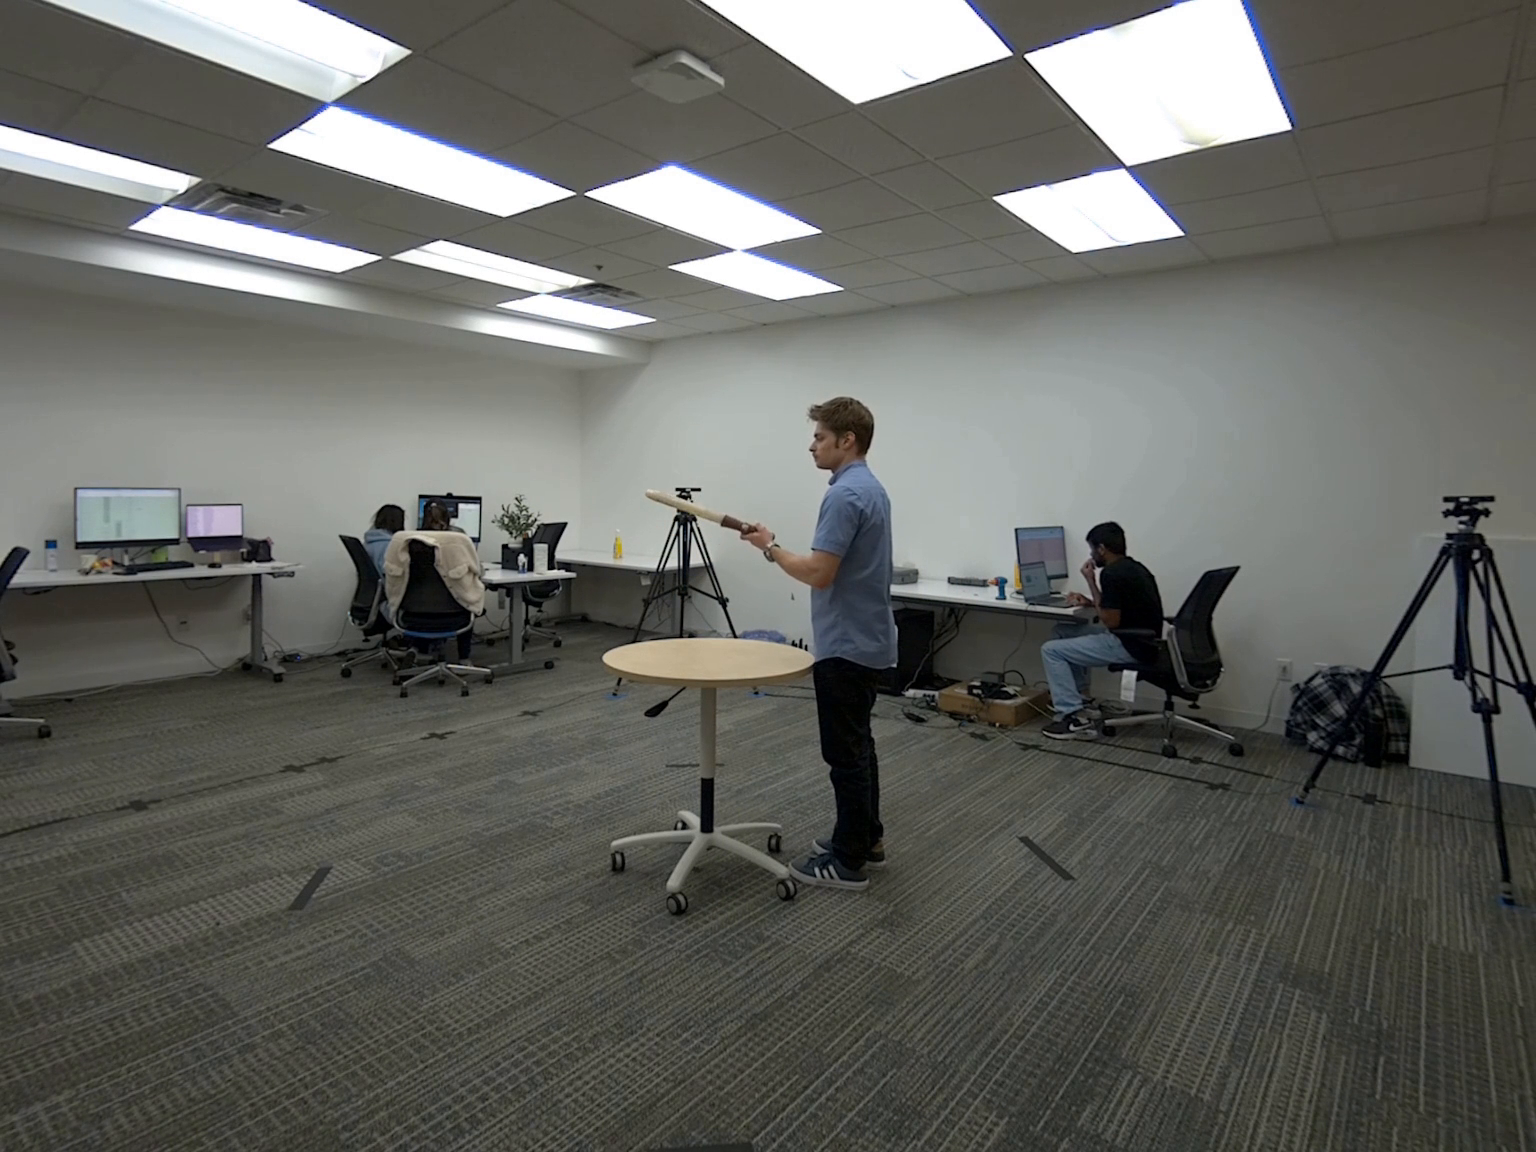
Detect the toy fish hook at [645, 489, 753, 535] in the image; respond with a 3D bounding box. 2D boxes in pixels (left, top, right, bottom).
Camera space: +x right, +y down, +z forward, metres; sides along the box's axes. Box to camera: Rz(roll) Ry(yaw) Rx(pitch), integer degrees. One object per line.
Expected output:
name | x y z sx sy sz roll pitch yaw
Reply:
toy fish hook | -0.219 -0.230 3.152 0.510 0.048 0.224 22 6 4
